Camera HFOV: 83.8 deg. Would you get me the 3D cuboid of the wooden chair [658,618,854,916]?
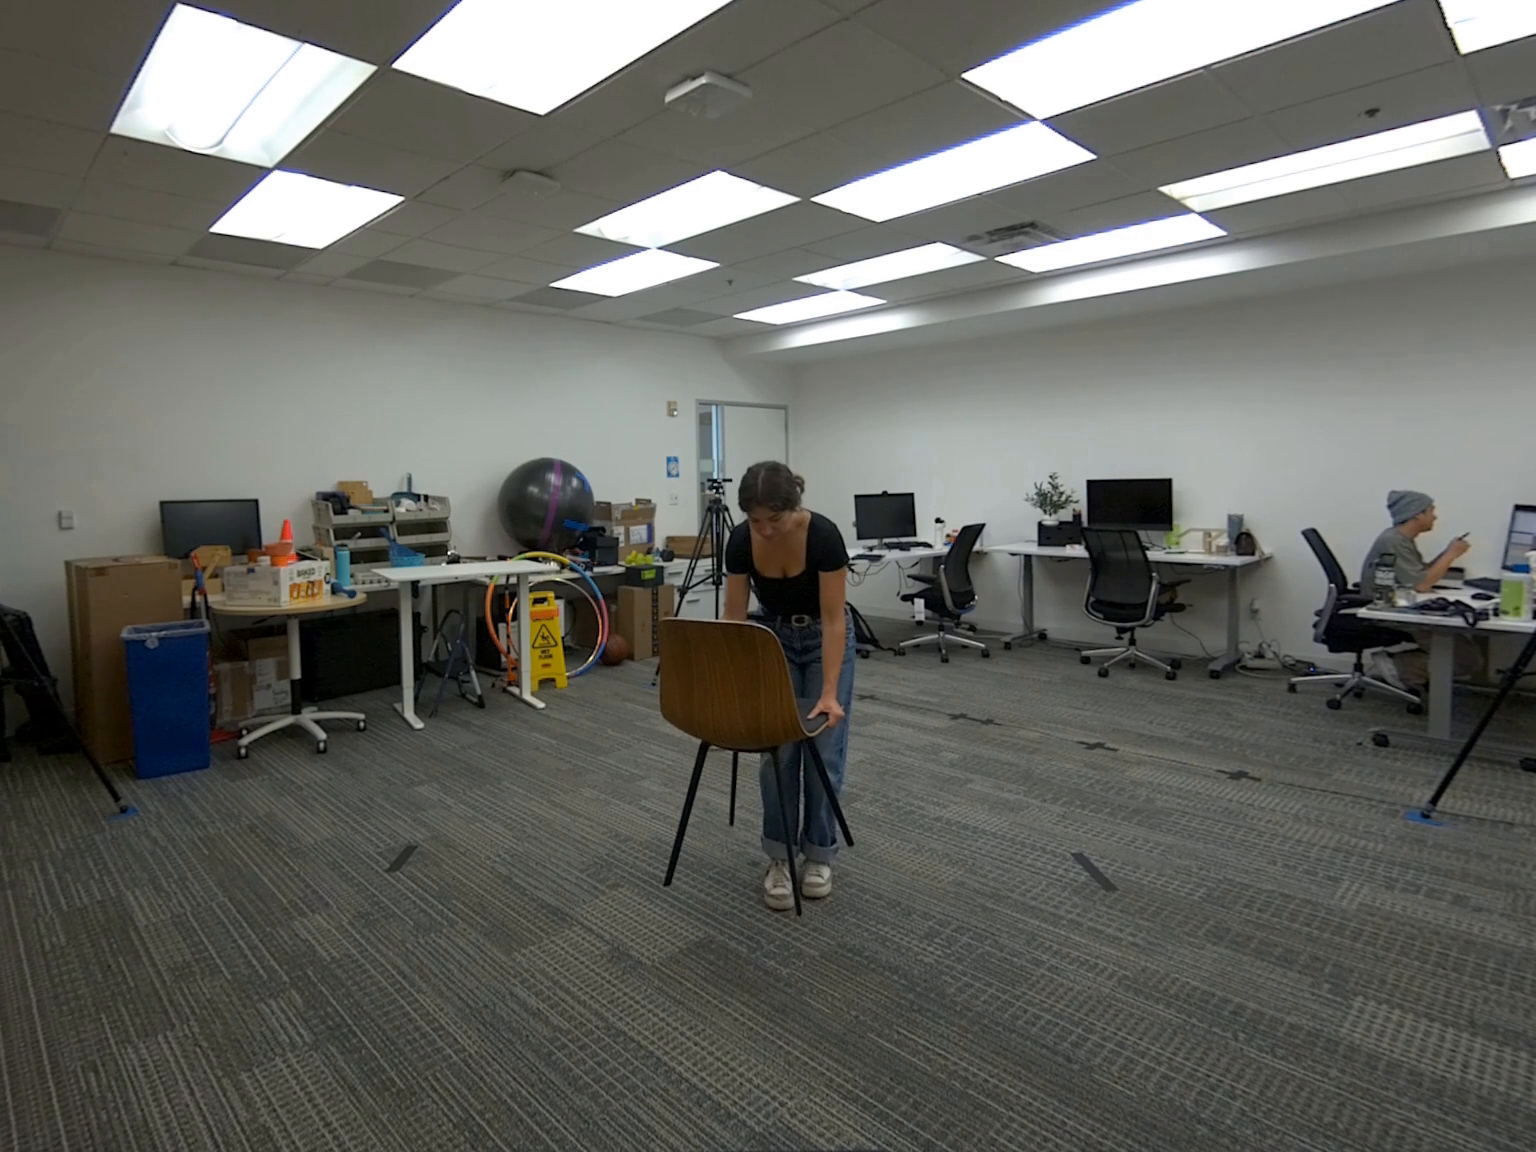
[{"bbox_3d":[-0.040,0.491,2.633,0.489,0.868,0.516,0,12,27],"label":"wooden chair"}]
